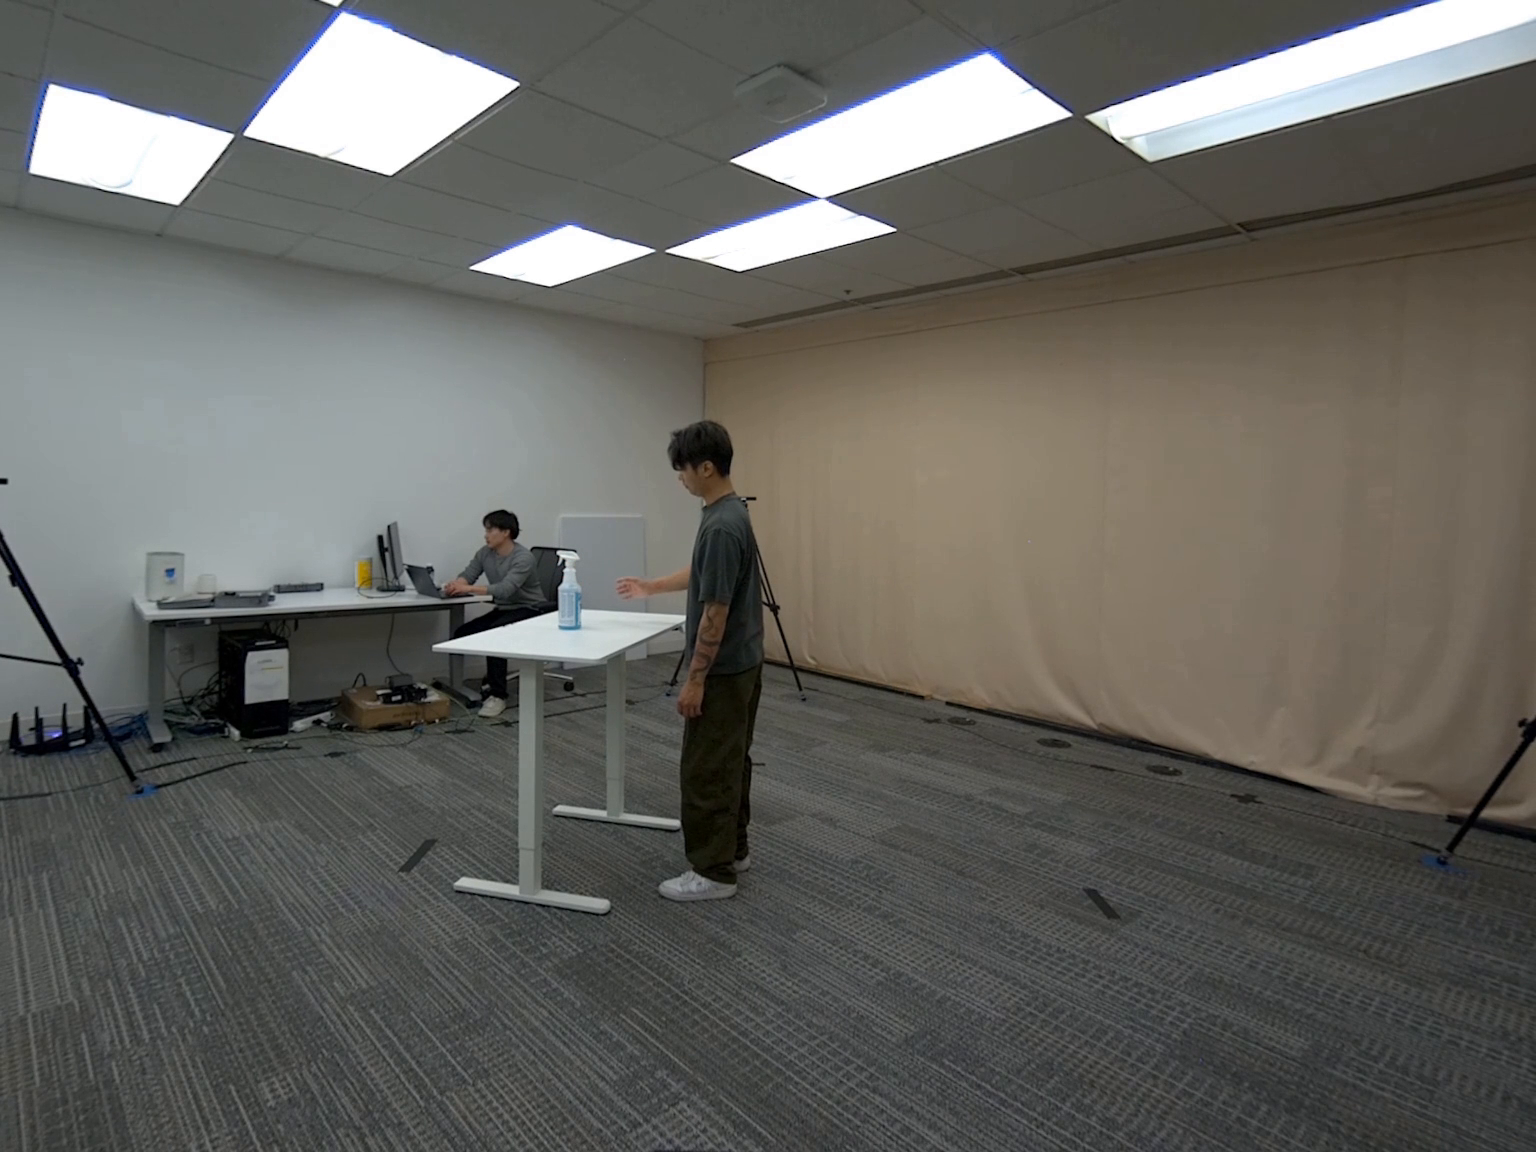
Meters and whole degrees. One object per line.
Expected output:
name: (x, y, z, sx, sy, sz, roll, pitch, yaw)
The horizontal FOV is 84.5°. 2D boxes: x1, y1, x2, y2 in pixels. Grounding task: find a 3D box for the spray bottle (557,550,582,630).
spray bottle: (-0.760, 0.055, 3.211, 0.092, 0.296, 0.085, 5, 7, 39)
